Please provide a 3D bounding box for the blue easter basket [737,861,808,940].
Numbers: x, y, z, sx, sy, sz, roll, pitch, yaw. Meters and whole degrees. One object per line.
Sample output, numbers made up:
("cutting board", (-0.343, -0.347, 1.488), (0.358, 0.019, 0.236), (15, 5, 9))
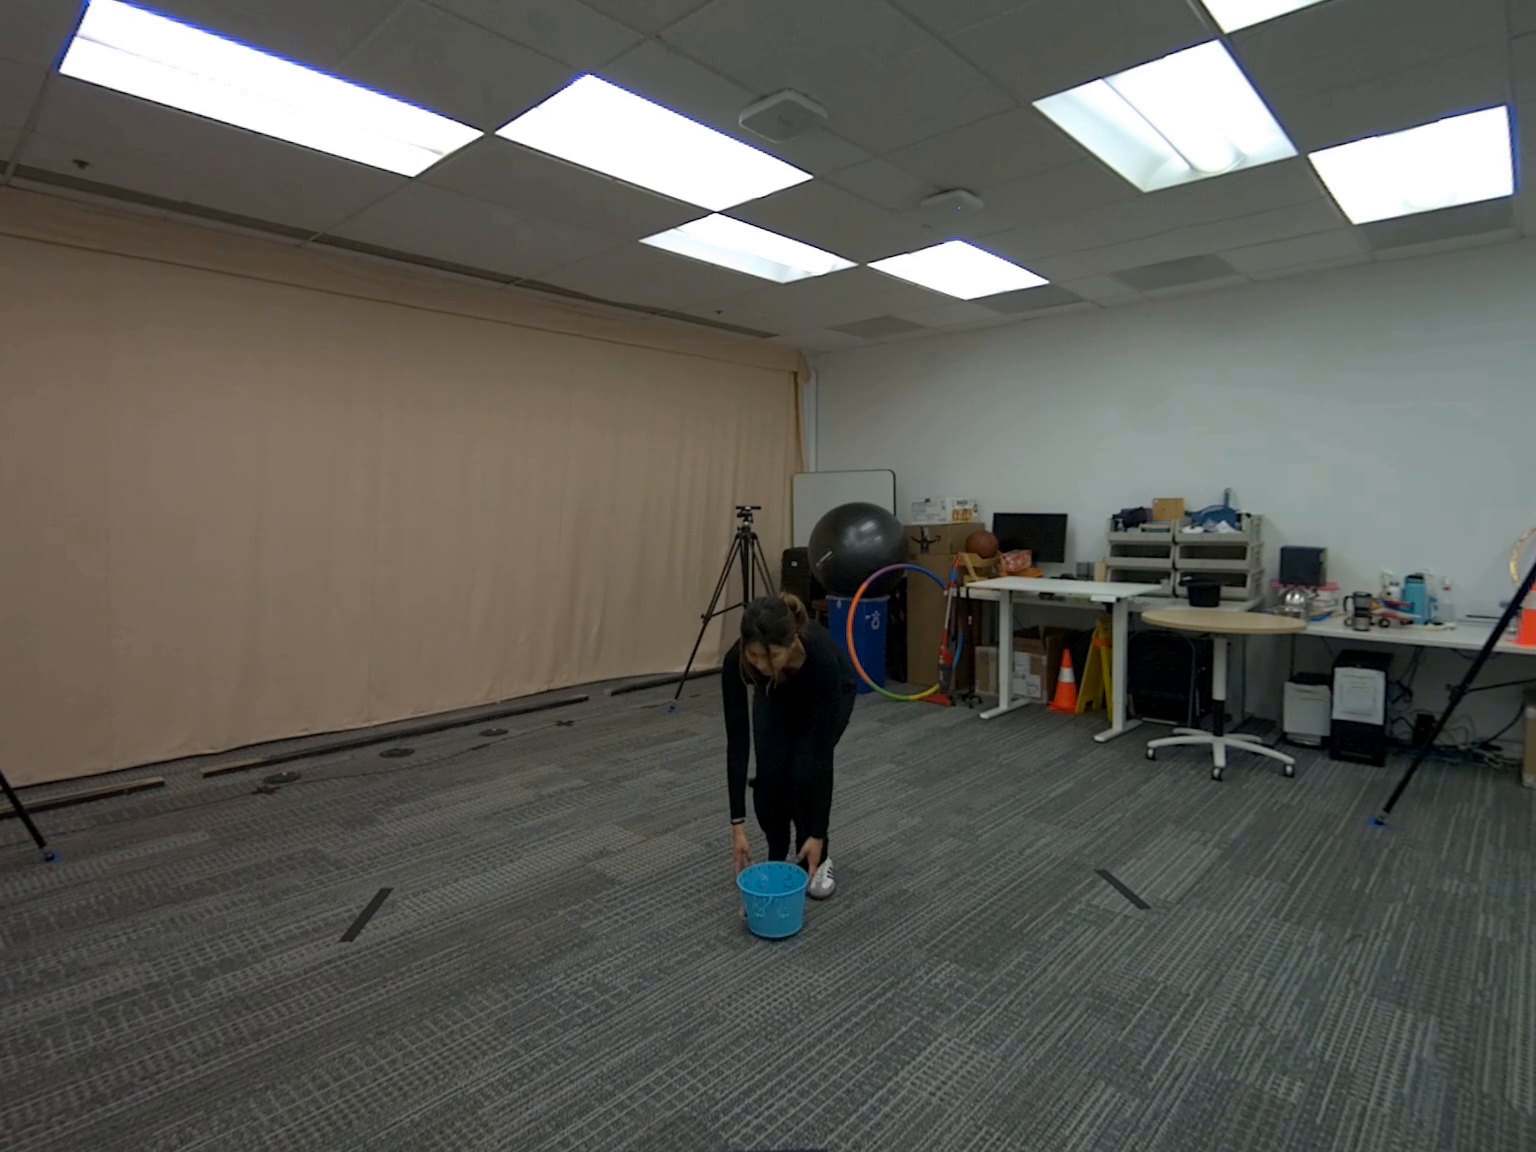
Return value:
("blue easter basket", (0.016, 1.050, 2.761), (0.243, 0.155, 0.245), (-3, 7, -1))
